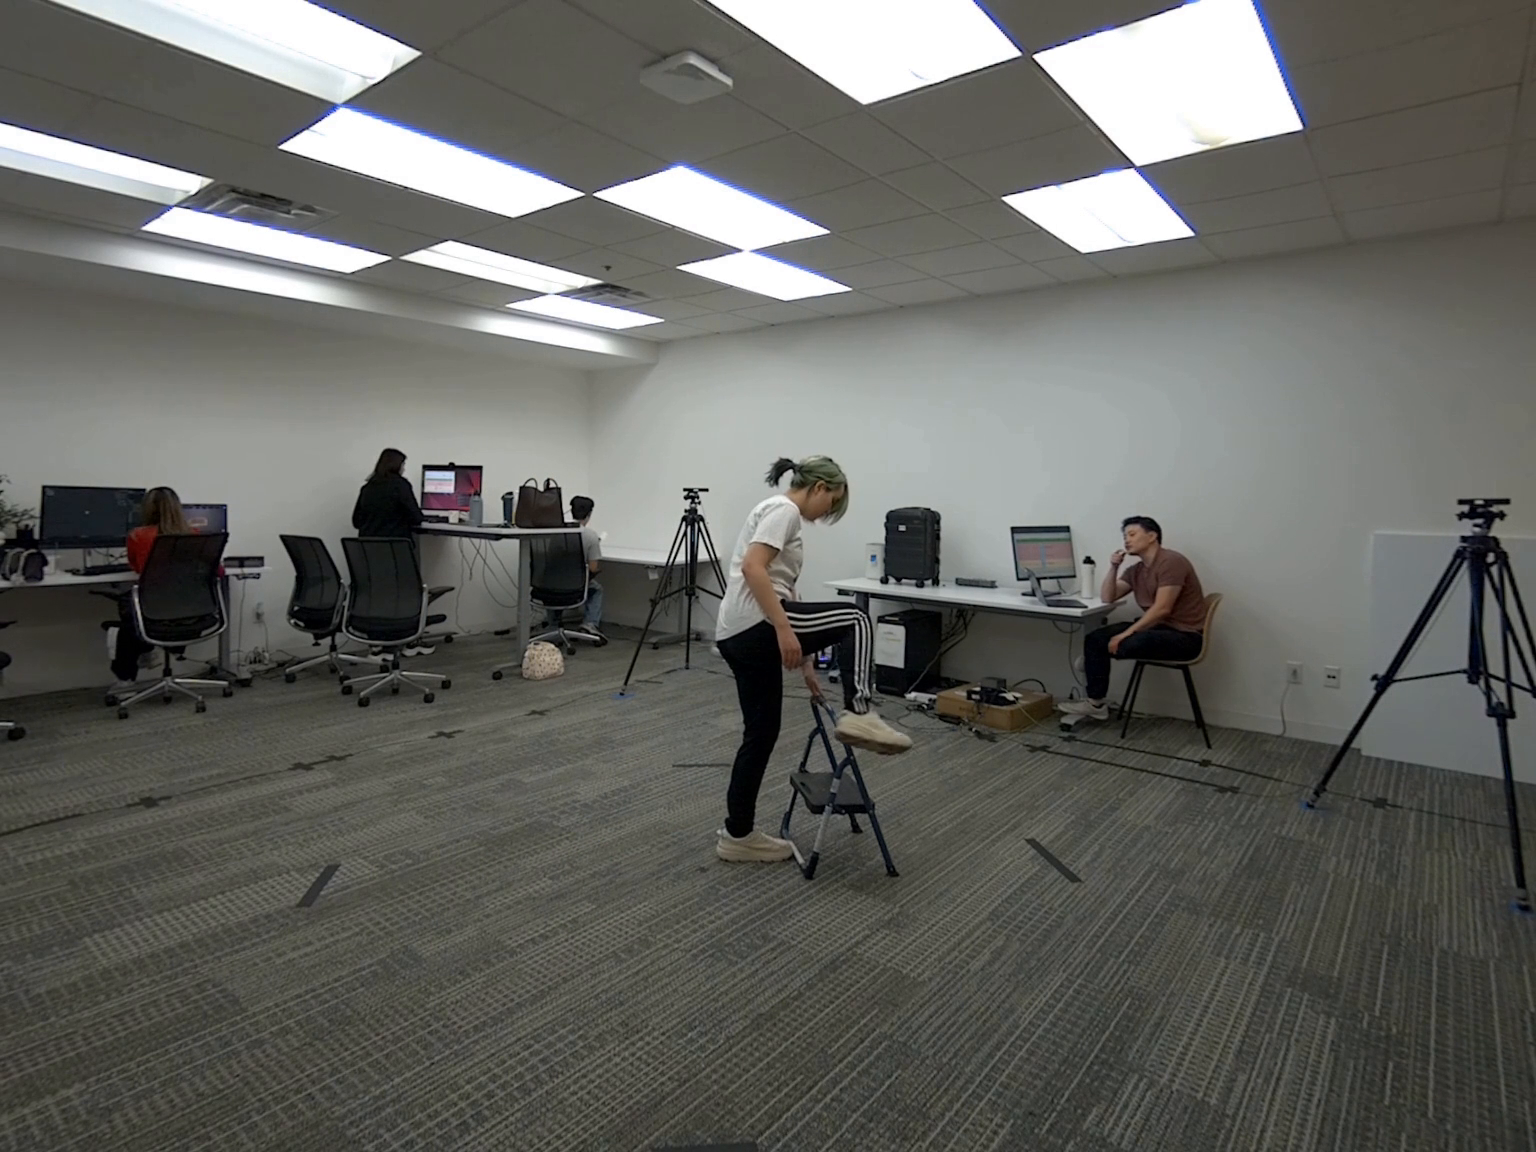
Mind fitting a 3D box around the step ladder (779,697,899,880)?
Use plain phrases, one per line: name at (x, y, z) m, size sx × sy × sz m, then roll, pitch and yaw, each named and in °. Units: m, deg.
step ladder at (0.260, 0.765, 3.254) m, size 0.345 × 0.604 × 0.437 m, roll 0°, pitch 3°, yaw -13°
